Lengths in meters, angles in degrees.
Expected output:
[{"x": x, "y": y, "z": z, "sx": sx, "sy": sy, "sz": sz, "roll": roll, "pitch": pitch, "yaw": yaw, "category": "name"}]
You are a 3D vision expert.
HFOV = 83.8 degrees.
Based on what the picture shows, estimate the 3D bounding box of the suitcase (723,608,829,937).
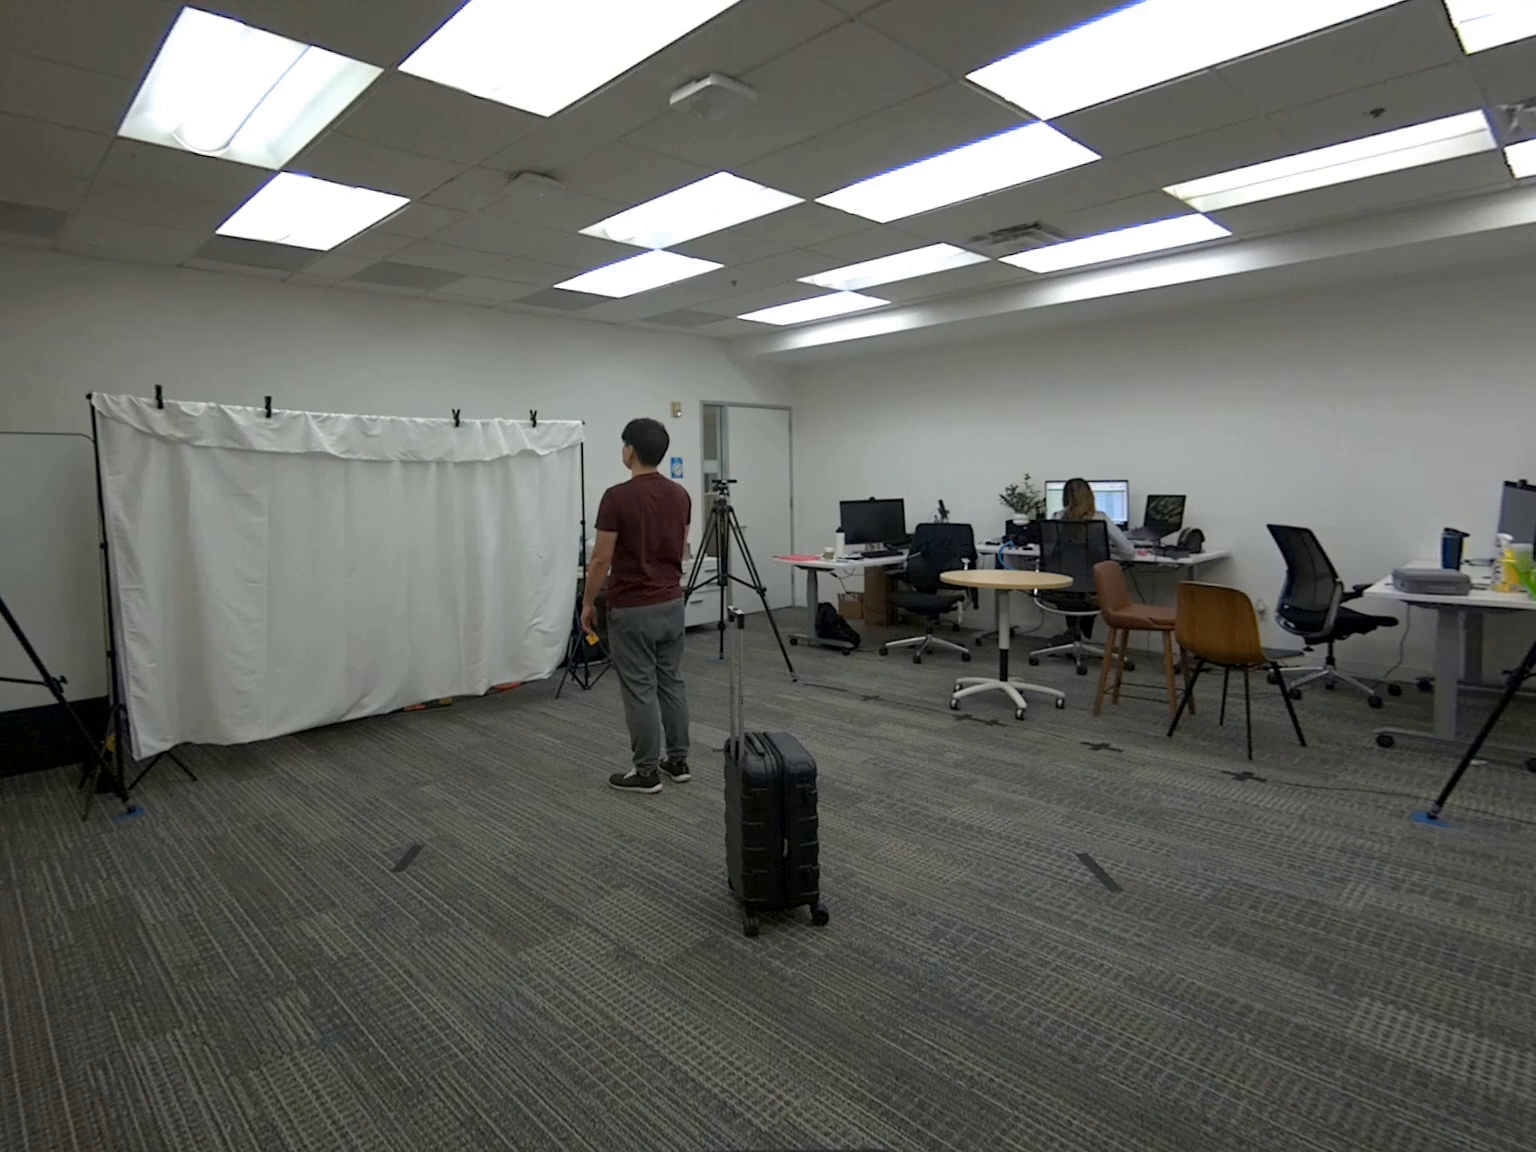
[{"x": 0.007, "y": 0.603, "z": 2.784, "sx": 0.254, "sy": 0.975, "sz": 0.389, "roll": 1, "pitch": 4, "yaw": -11, "category": "suitcase"}]
